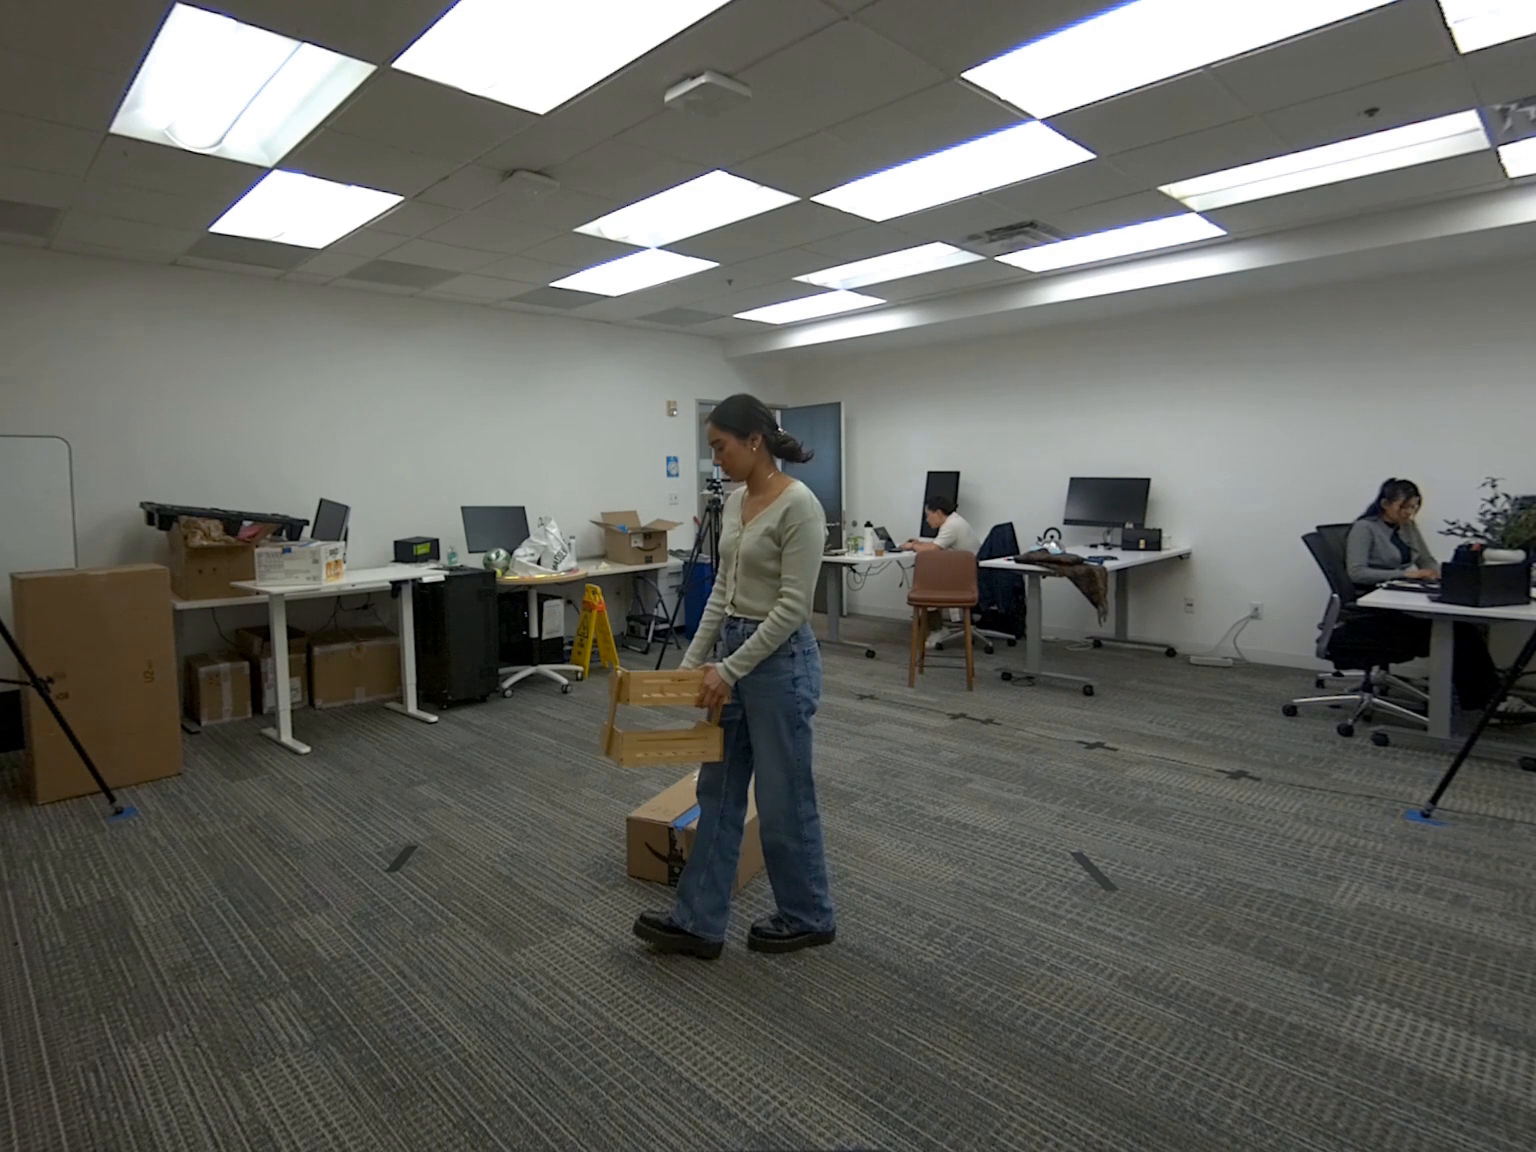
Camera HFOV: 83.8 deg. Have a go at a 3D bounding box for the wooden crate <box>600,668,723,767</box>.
[{"bbox_3d":[-0.300,0.385,2.455,0.318,0.274,0.307,2,-3,-22],"label":"wooden crate"}]
